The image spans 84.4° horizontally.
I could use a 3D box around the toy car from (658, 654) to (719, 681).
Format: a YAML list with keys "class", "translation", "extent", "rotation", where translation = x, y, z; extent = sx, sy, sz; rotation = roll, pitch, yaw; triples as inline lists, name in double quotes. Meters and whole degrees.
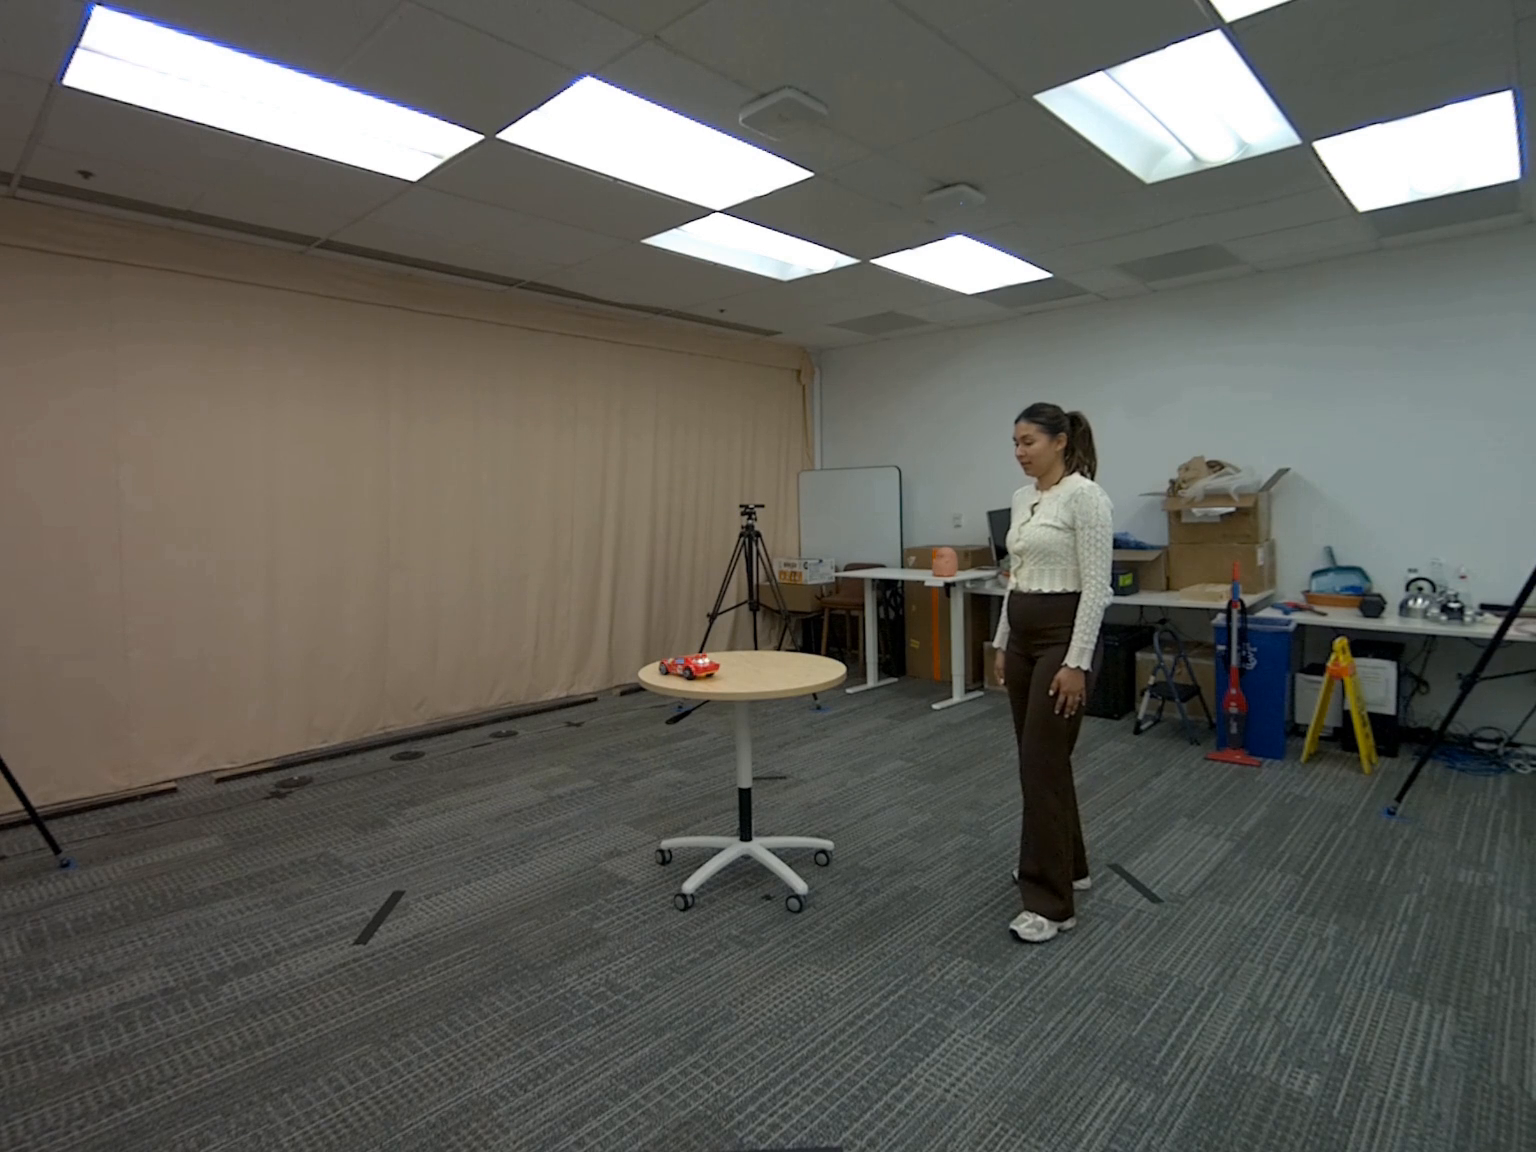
- class: "toy car"
  translation: [-0.275, 0.332, 3.013]
  extent: [0.126, 0.083, 0.261]
  rotation: [-6, -4, -43]
